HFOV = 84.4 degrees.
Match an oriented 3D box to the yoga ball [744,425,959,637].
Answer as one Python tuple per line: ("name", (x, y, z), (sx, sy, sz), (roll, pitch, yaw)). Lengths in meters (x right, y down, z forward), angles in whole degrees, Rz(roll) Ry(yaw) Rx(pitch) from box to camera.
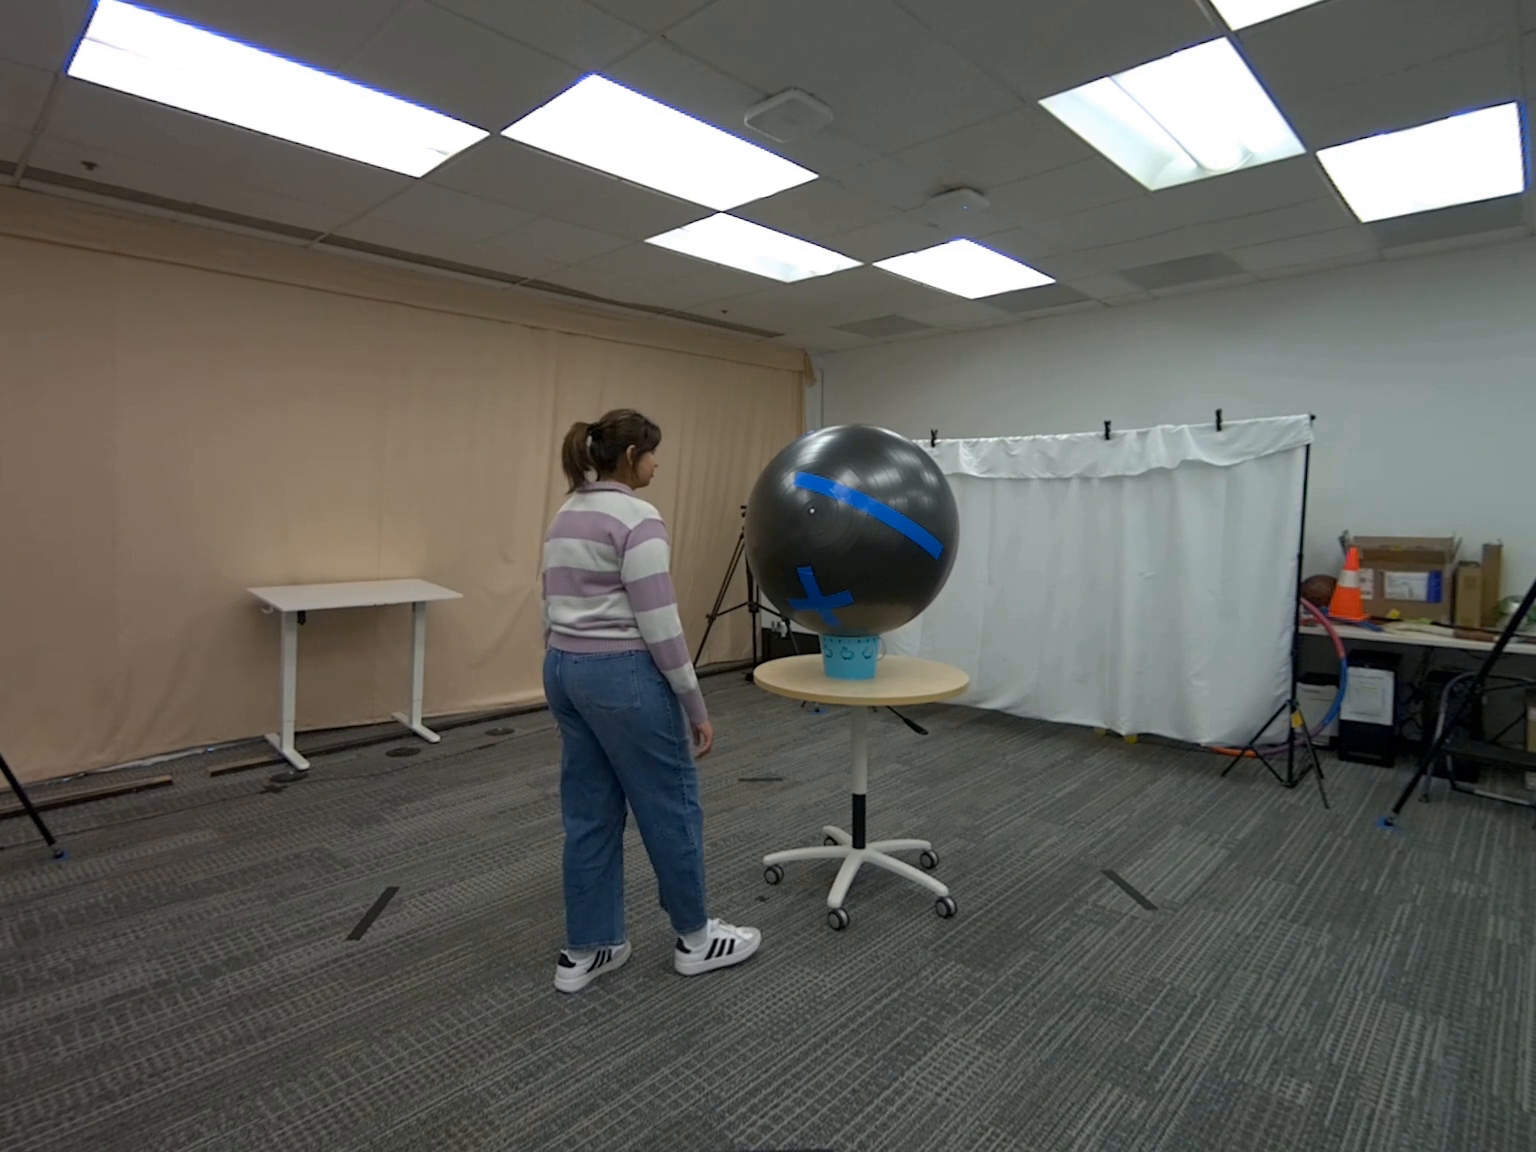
("yoga ball", (0.296, -0.154, 3.012), (0.757, 0.756, 0.760), (0, 4, -2))
